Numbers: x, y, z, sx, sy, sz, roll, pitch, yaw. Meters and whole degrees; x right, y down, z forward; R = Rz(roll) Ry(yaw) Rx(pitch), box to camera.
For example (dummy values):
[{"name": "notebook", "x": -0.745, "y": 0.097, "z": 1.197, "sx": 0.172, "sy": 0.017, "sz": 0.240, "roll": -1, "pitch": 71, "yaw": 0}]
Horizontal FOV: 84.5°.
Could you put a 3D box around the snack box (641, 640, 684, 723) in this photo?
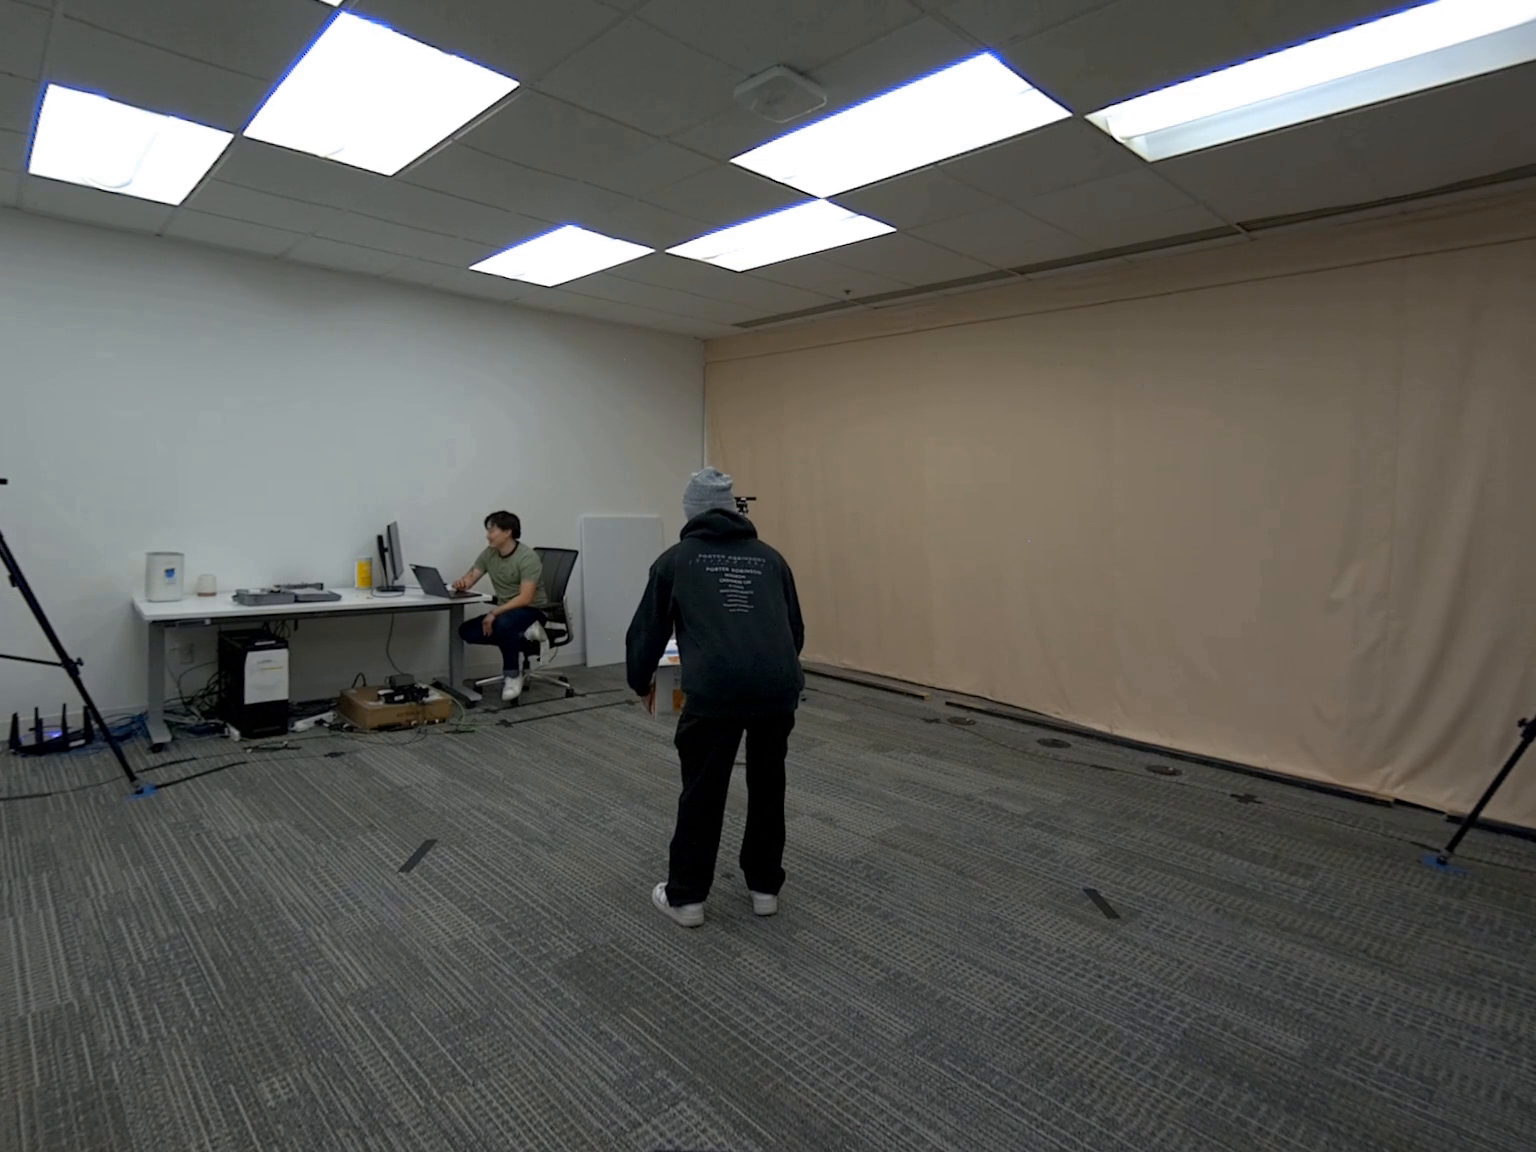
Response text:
[{"name": "snack box", "x": -0.267, "y": 0.385, "z": 3.233, "sx": 0.400, "sy": 0.204, "sz": 0.347, "roll": -2, "pitch": 11, "yaw": -17}]
